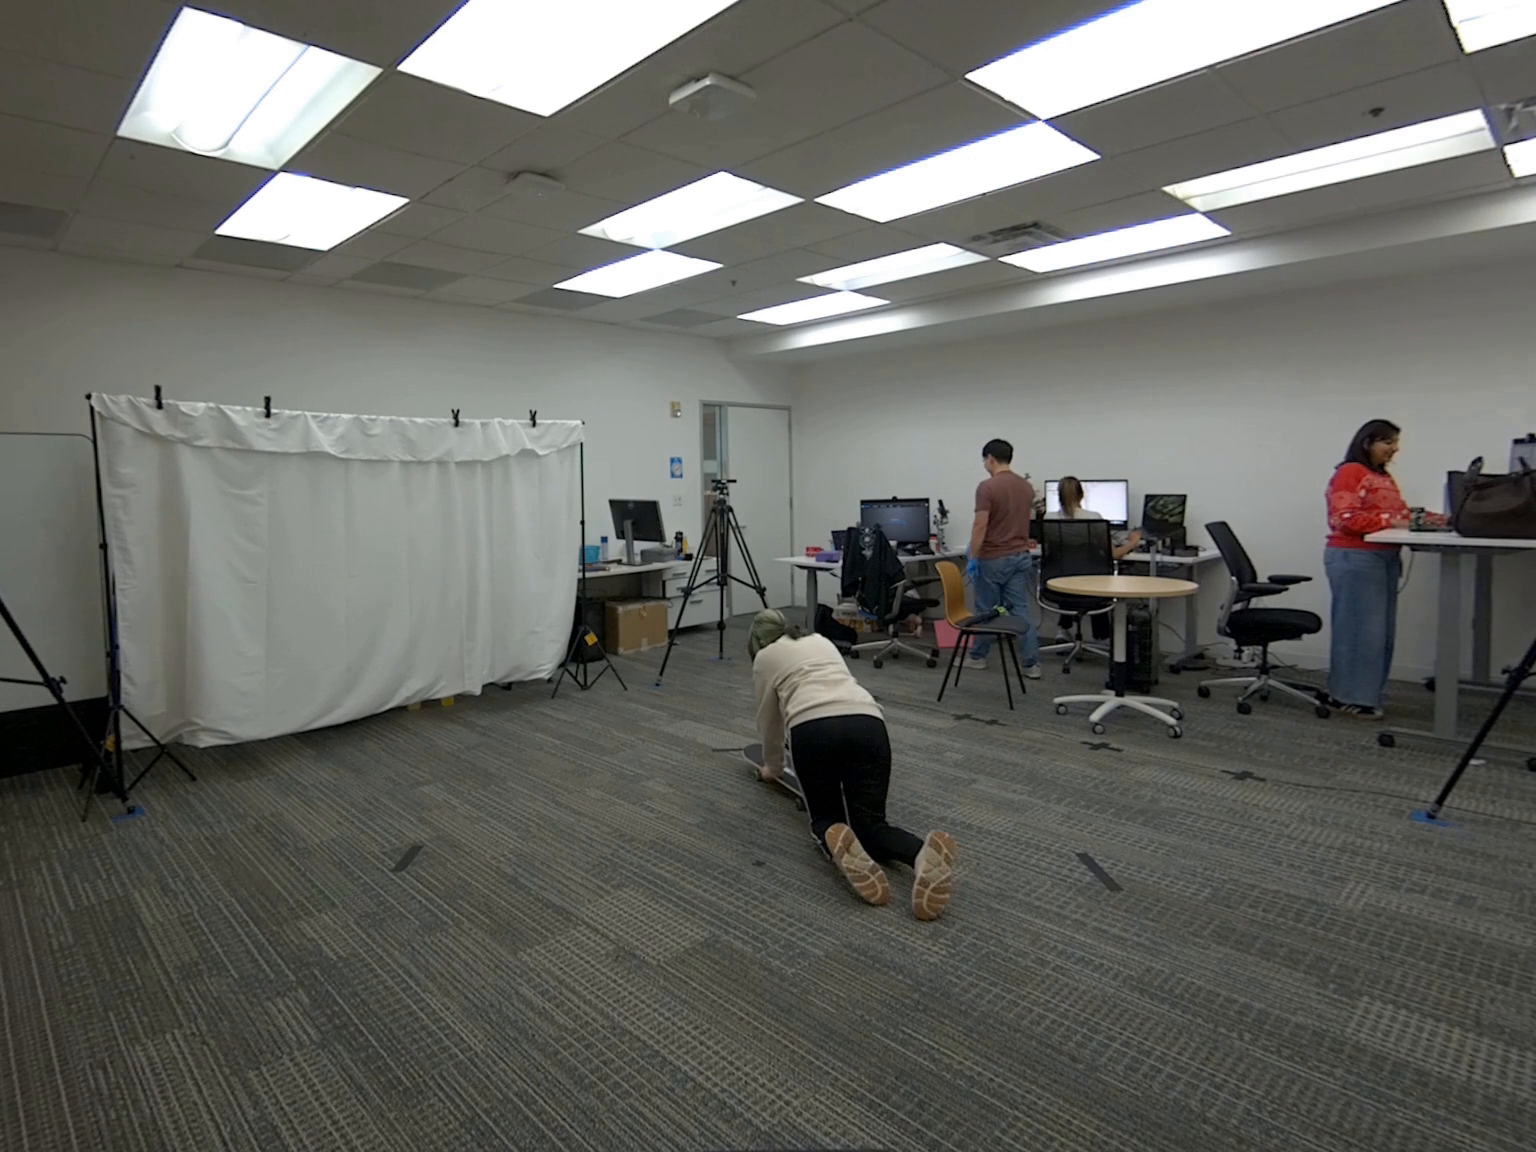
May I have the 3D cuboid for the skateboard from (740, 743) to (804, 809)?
[{"bbox_3d":[0.117,0.911,3.816,0.189,0.110,0.805,-4,6,-25],"label":"skateboard"}]
